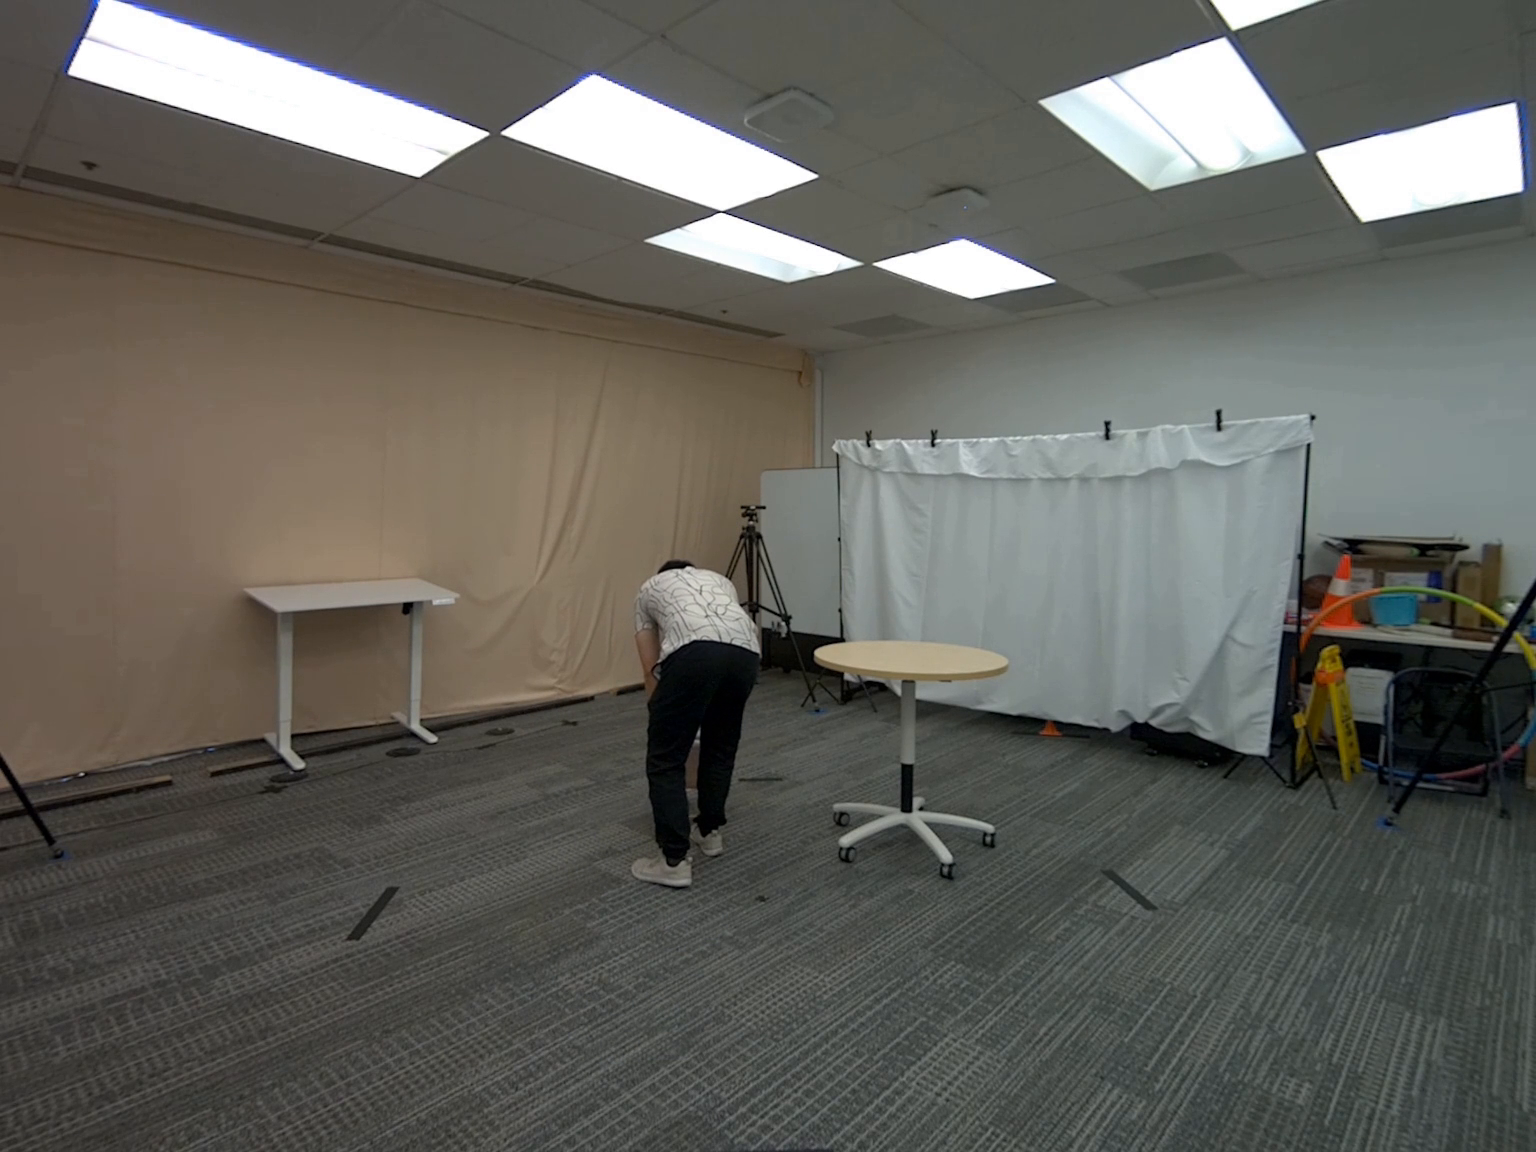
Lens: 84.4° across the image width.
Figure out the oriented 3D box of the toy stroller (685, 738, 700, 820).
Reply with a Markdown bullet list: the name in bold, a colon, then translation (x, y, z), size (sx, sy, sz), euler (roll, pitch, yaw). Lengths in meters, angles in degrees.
- **toy stroller**: translation (-0.364, 0.858, 3.771), size (0.281, 0.529, 0.345), euler (0, 18, -2)
